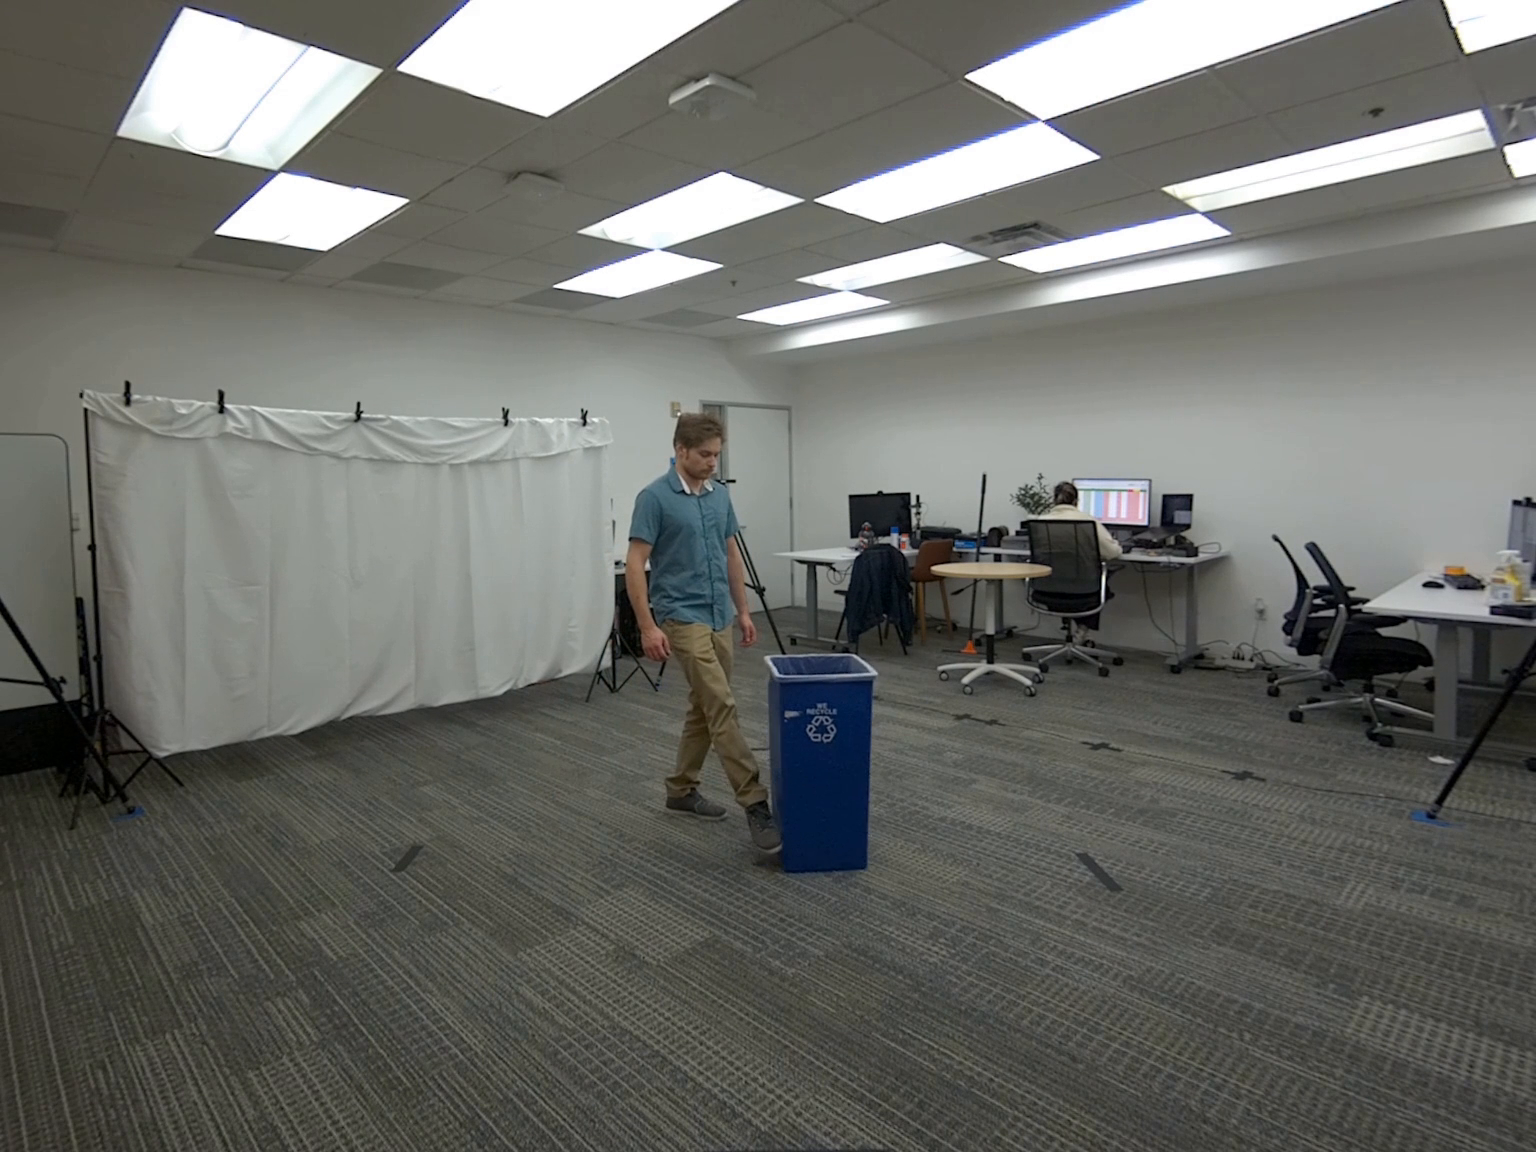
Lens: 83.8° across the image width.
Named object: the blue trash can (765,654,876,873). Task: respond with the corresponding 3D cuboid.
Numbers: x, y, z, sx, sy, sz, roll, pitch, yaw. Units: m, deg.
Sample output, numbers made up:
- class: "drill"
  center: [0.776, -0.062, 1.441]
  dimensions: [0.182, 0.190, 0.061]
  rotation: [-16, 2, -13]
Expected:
- class: "blue trash can"
  center: [0.199, 0.676, 3.170]
  dimensions: [0.372, 0.711, 0.382]
  rotation: [-1, 4, -7]
